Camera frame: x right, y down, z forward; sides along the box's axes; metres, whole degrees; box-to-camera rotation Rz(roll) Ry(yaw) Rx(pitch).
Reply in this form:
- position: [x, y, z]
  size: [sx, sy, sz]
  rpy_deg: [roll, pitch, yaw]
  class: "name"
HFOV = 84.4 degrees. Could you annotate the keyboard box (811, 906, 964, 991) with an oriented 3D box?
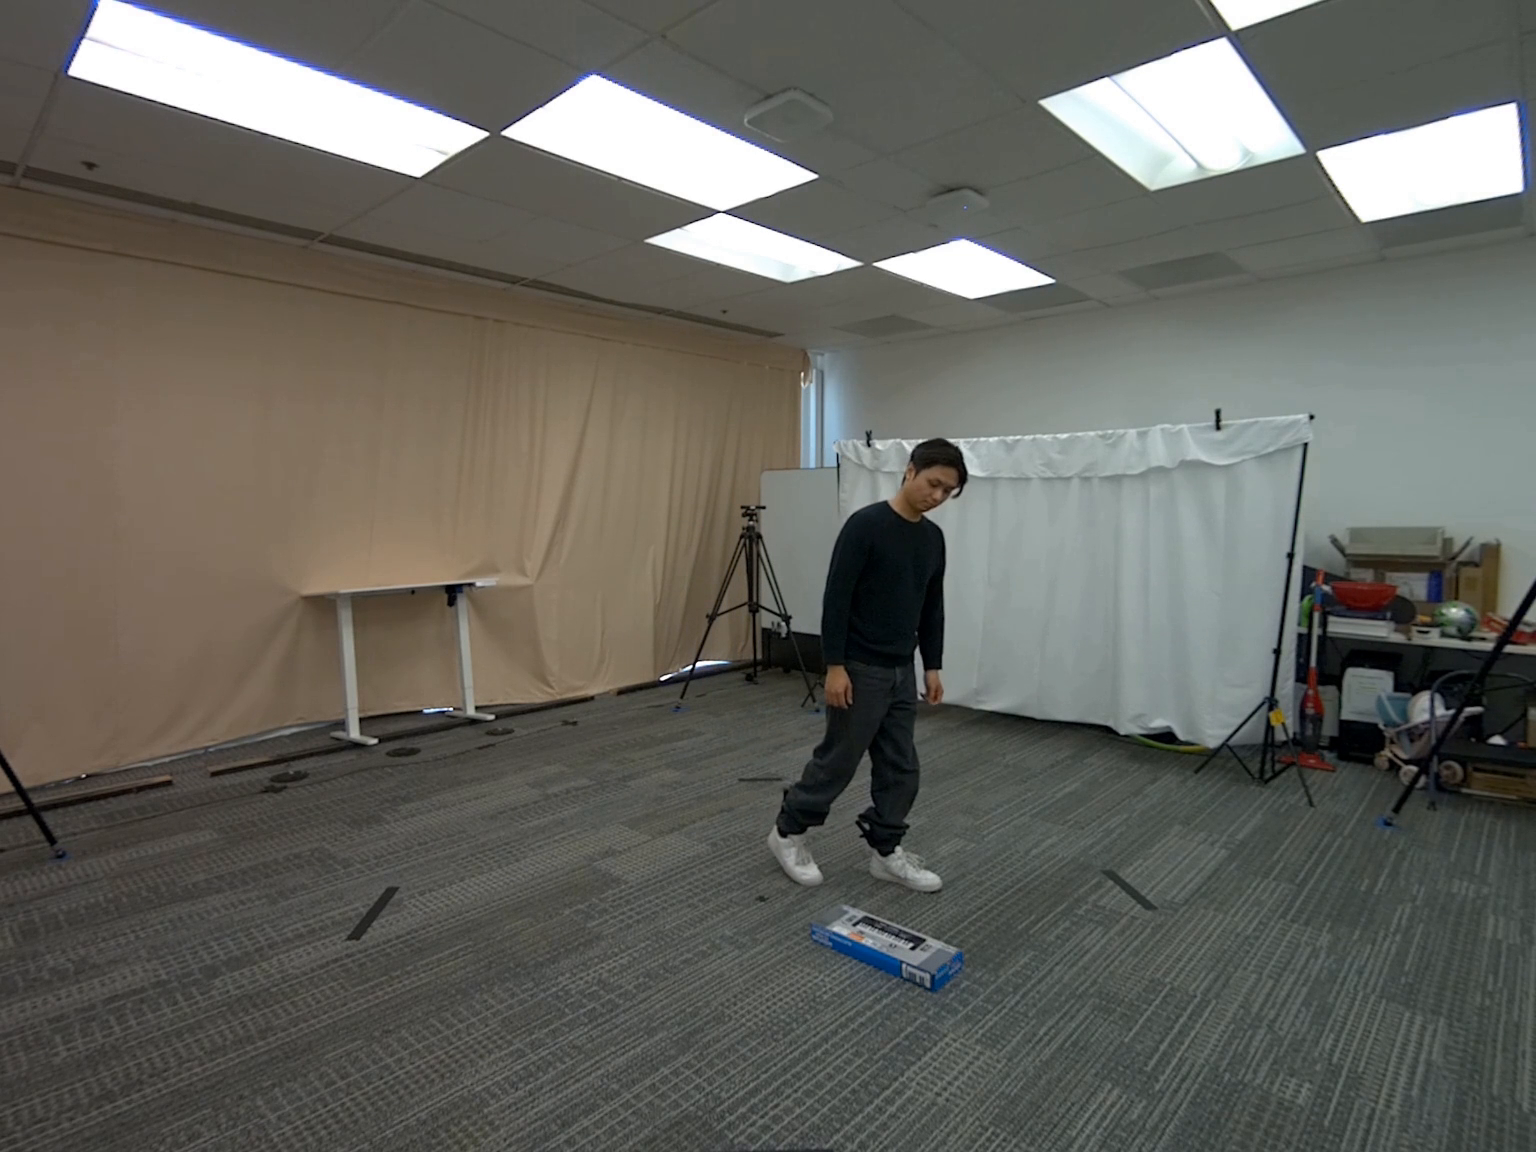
- position: [0.361, 1.148, 2.610]
  size: [0.451, 0.059, 0.171]
  rpy_deg: [3, 9, 42]
  class: "keyboard box"
